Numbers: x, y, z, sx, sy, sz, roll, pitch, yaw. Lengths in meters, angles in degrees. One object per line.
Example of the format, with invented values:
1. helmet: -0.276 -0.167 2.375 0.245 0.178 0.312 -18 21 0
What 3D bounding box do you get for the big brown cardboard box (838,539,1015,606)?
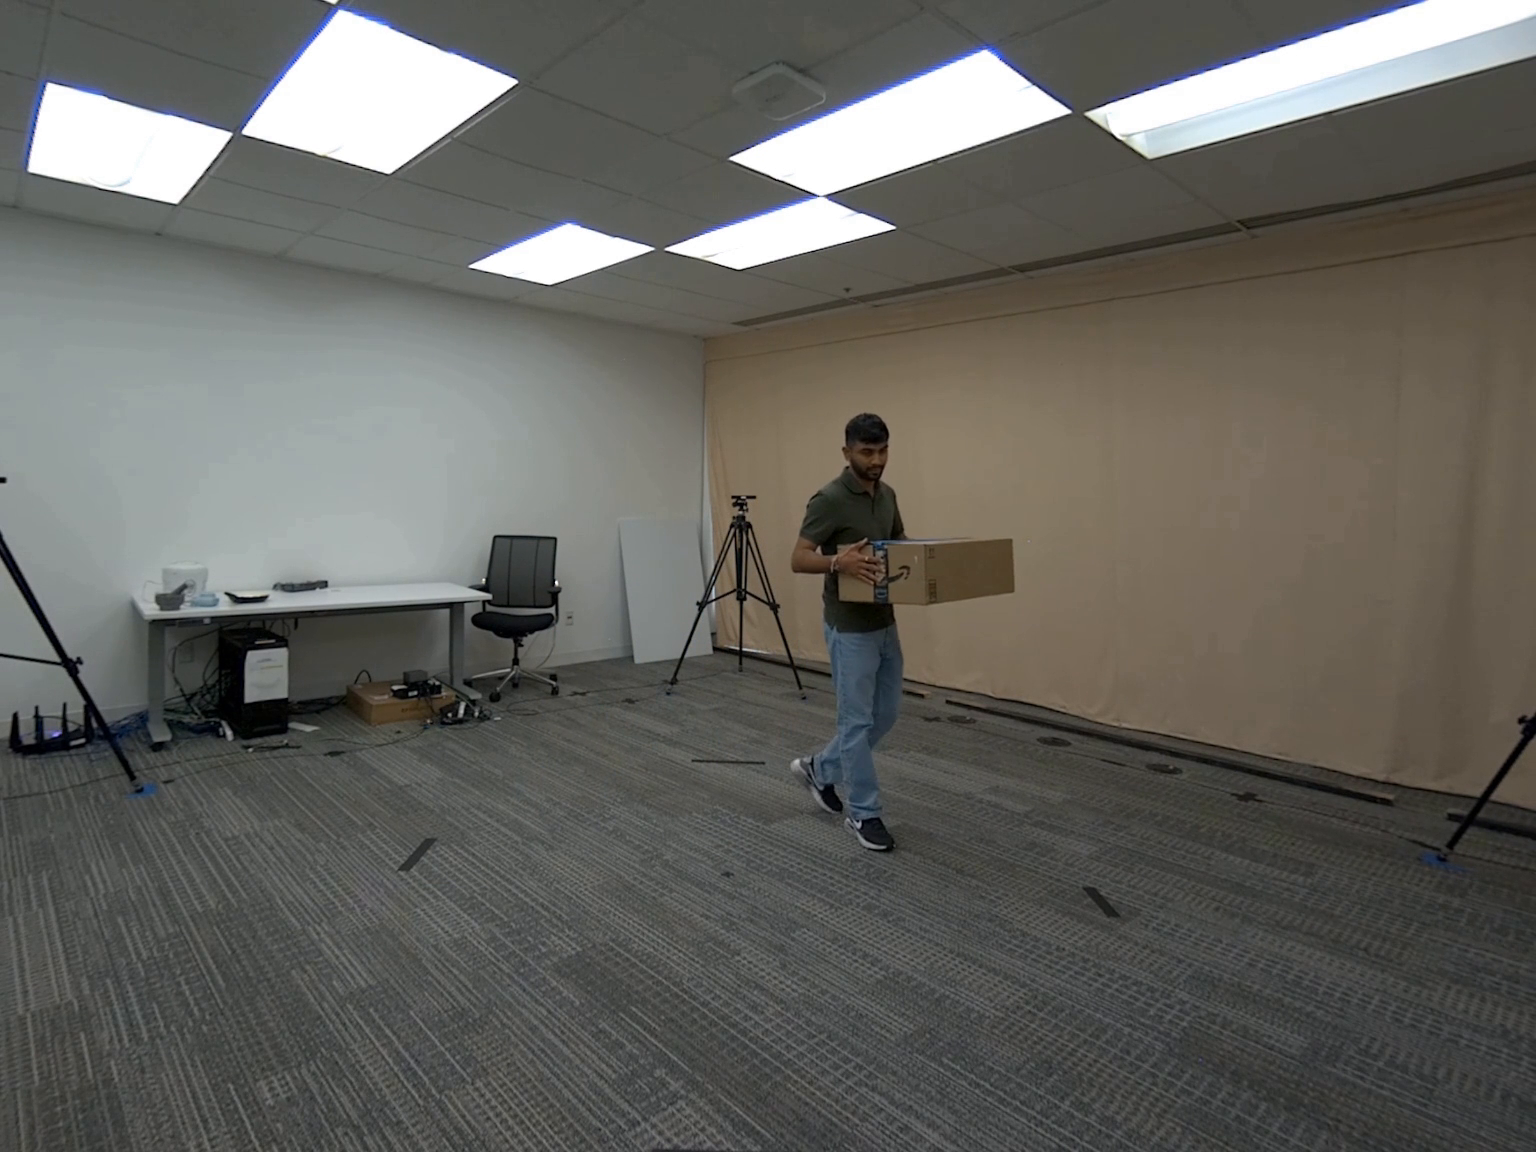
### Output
1. big brown cardboard box: 0.599 -0.023 3.253 0.575 0.233 0.427 -3 3 -42
